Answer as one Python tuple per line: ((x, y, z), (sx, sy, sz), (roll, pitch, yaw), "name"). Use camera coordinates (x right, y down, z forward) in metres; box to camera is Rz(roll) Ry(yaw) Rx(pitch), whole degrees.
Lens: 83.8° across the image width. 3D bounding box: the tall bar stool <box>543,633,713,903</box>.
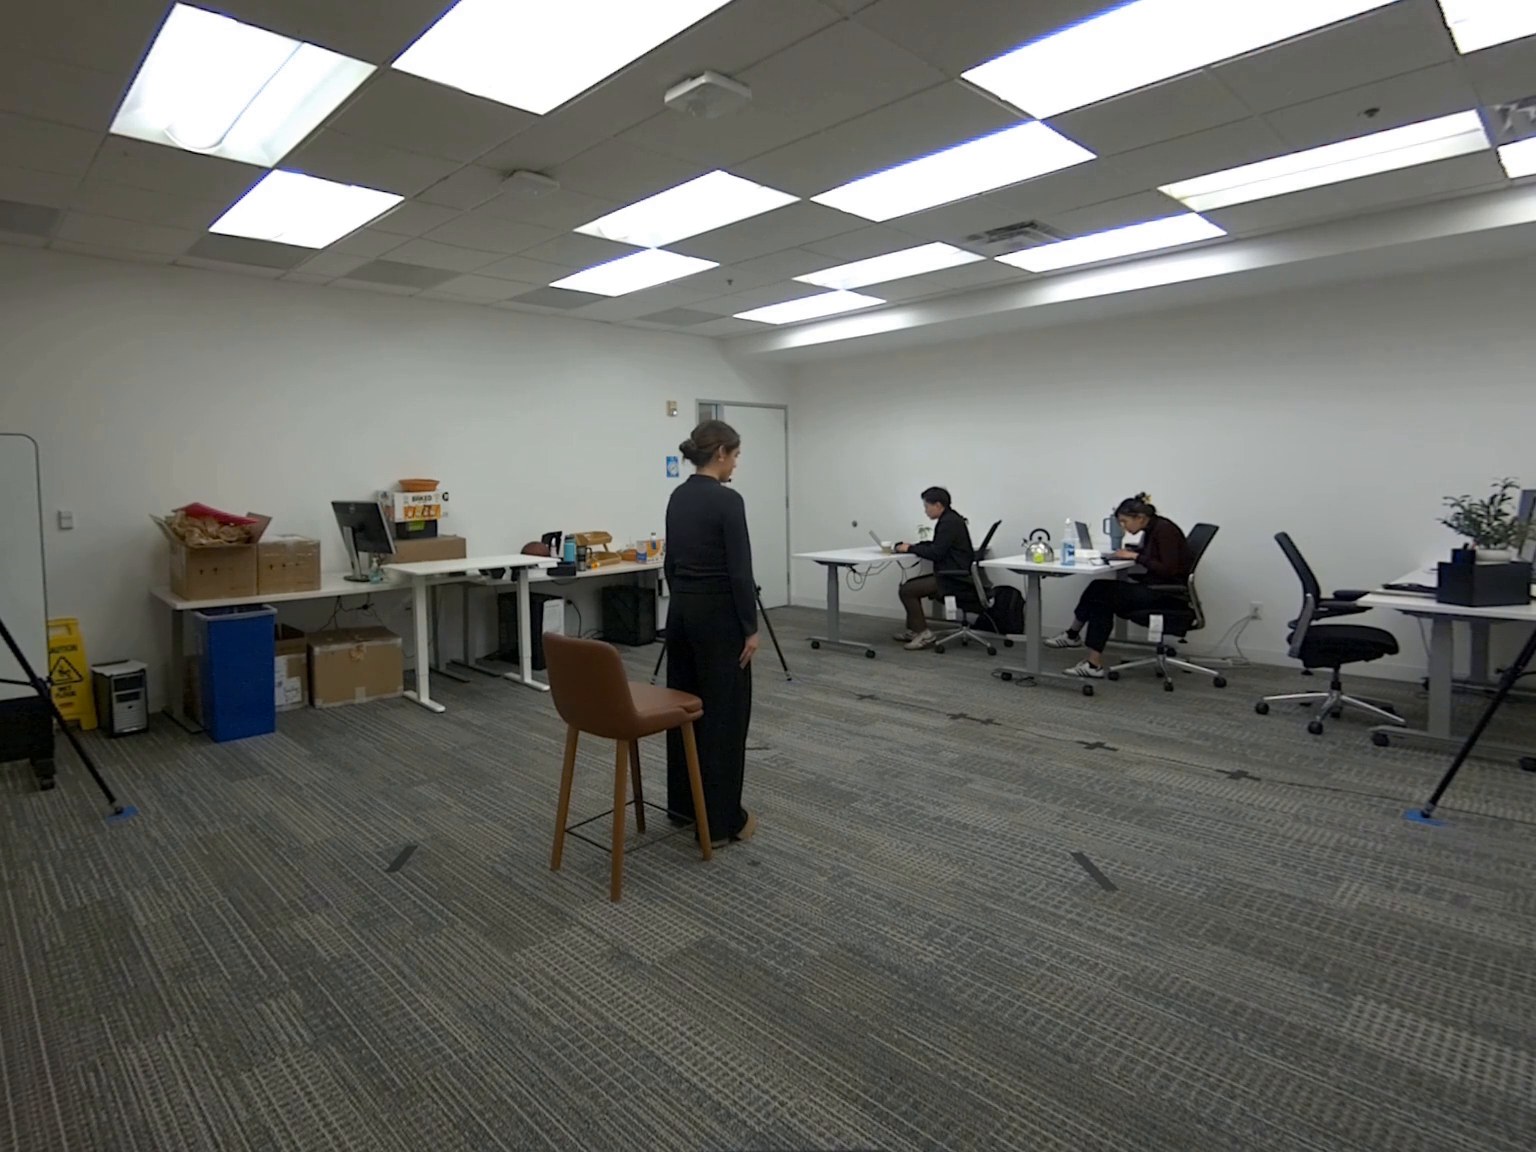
((-0.517, 0.619, 3.088), (0.470, 0.885, 0.456), (3, 8, 43), "tall bar stool")
